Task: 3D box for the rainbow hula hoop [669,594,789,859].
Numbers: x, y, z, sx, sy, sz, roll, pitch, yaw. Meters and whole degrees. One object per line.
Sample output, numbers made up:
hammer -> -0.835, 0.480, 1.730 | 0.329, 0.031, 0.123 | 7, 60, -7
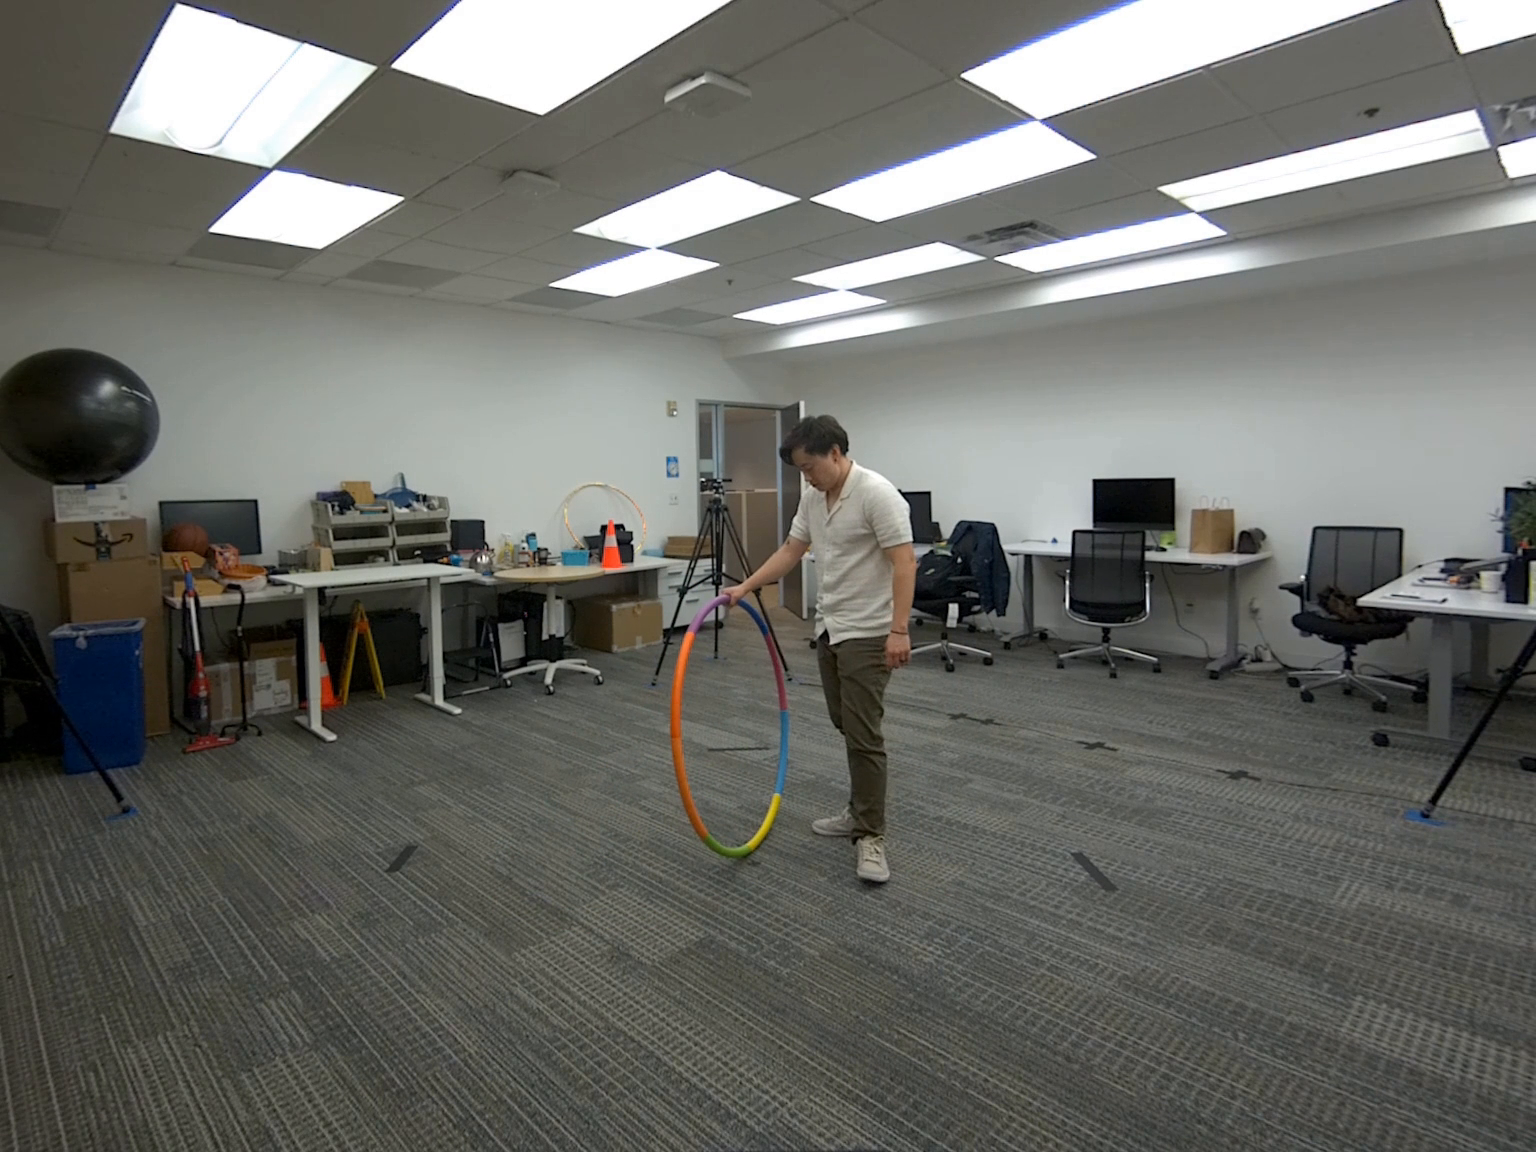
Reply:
rainbow hula hoop -> -0.111, 0.554, 3.244 | 0.036, 0.978, 0.962 | -9, 1, 22
